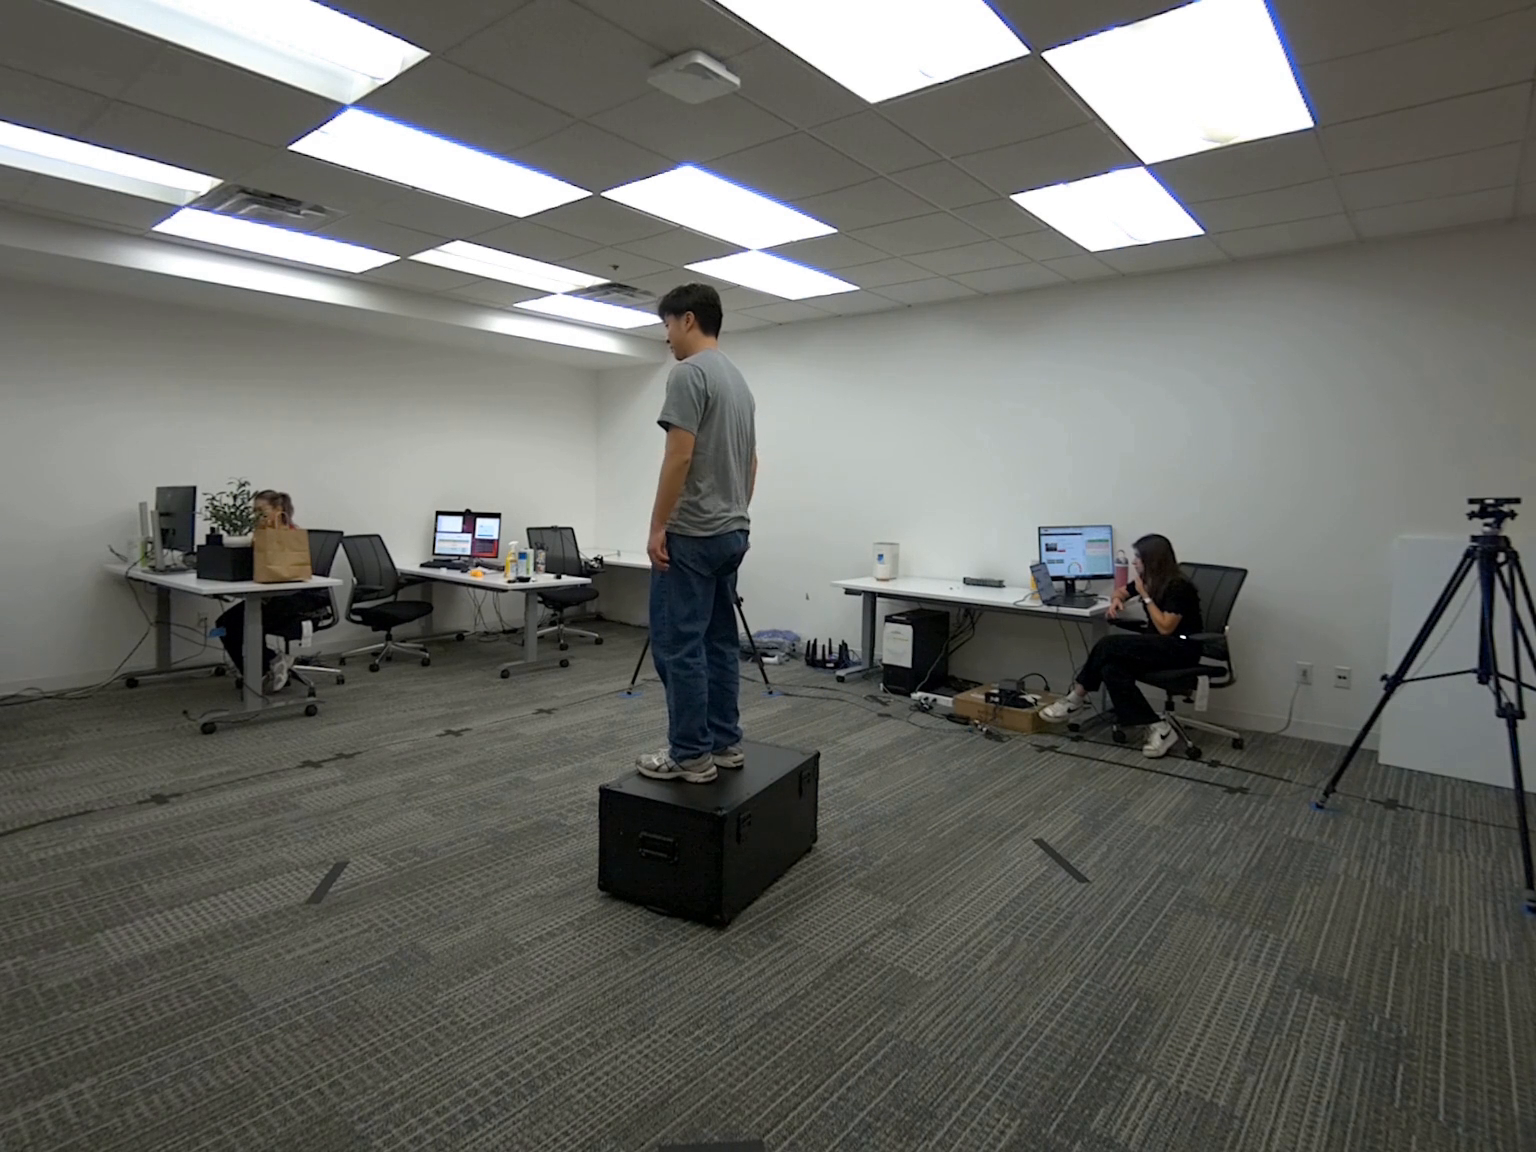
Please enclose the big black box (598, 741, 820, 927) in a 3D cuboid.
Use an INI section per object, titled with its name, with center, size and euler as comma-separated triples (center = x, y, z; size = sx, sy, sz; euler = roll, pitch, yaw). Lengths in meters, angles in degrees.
[big black box]
center = -0.180, 0.875, 3.116
size = 0.535, 0.395, 0.841
euler = 3, 6, 27
